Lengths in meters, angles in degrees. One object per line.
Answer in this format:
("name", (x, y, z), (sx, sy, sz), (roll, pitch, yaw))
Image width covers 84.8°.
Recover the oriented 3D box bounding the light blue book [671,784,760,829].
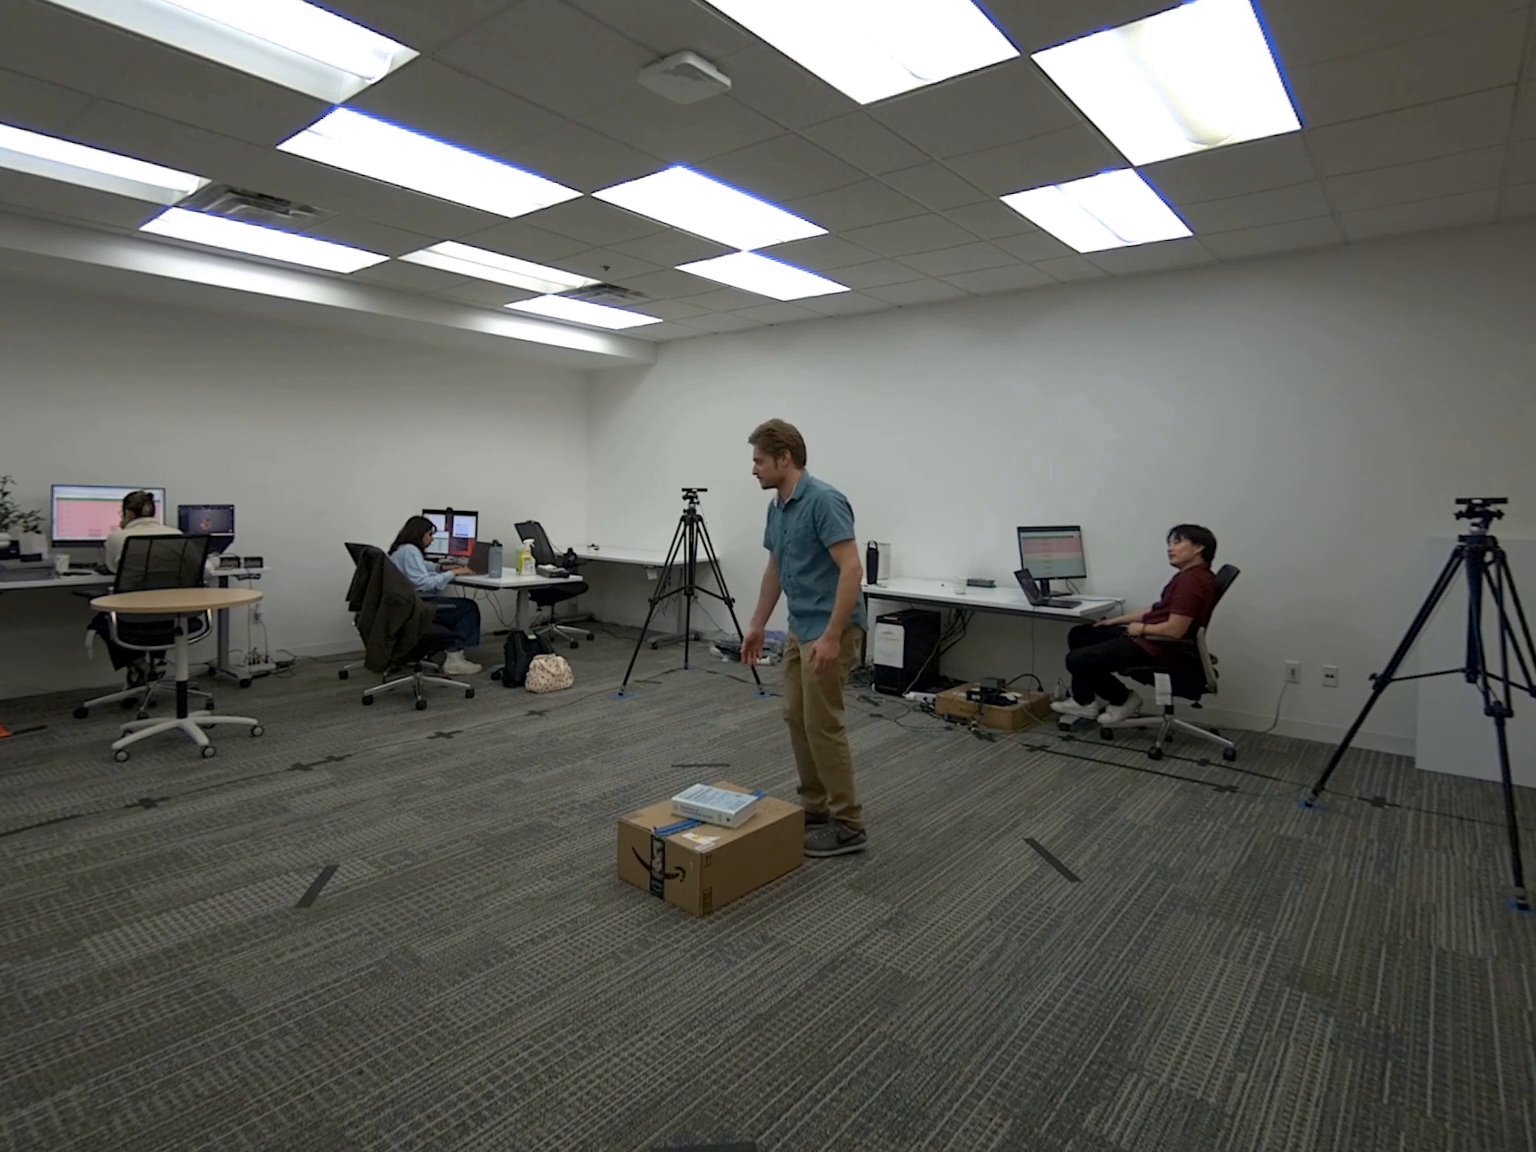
("light blue book", (-0.204, 0.828, 3.100), (0.268, 0.059, 0.187), (4, 6, 27))
